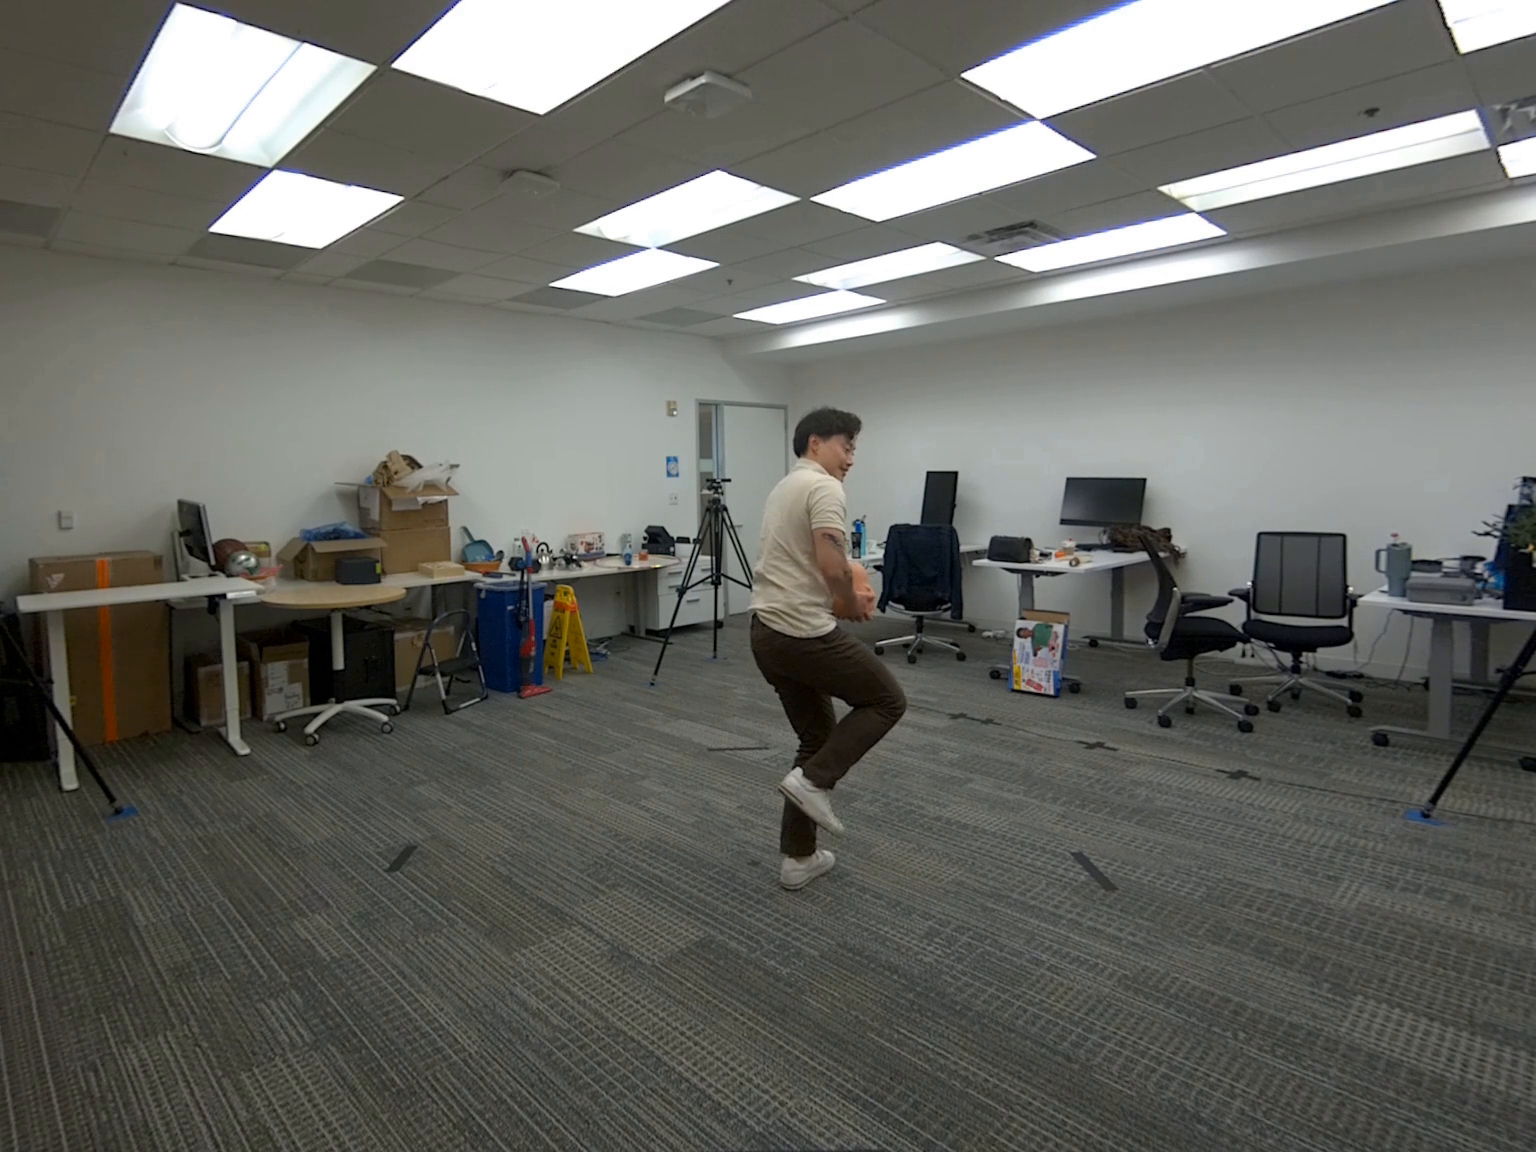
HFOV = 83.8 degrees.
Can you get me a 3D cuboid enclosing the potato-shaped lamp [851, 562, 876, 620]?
[{"bbox_3d":[0.303,0.051,3.081,0.170,0.198,0.166,3,1,-6],"label":"potato-shaped lamp"}]
